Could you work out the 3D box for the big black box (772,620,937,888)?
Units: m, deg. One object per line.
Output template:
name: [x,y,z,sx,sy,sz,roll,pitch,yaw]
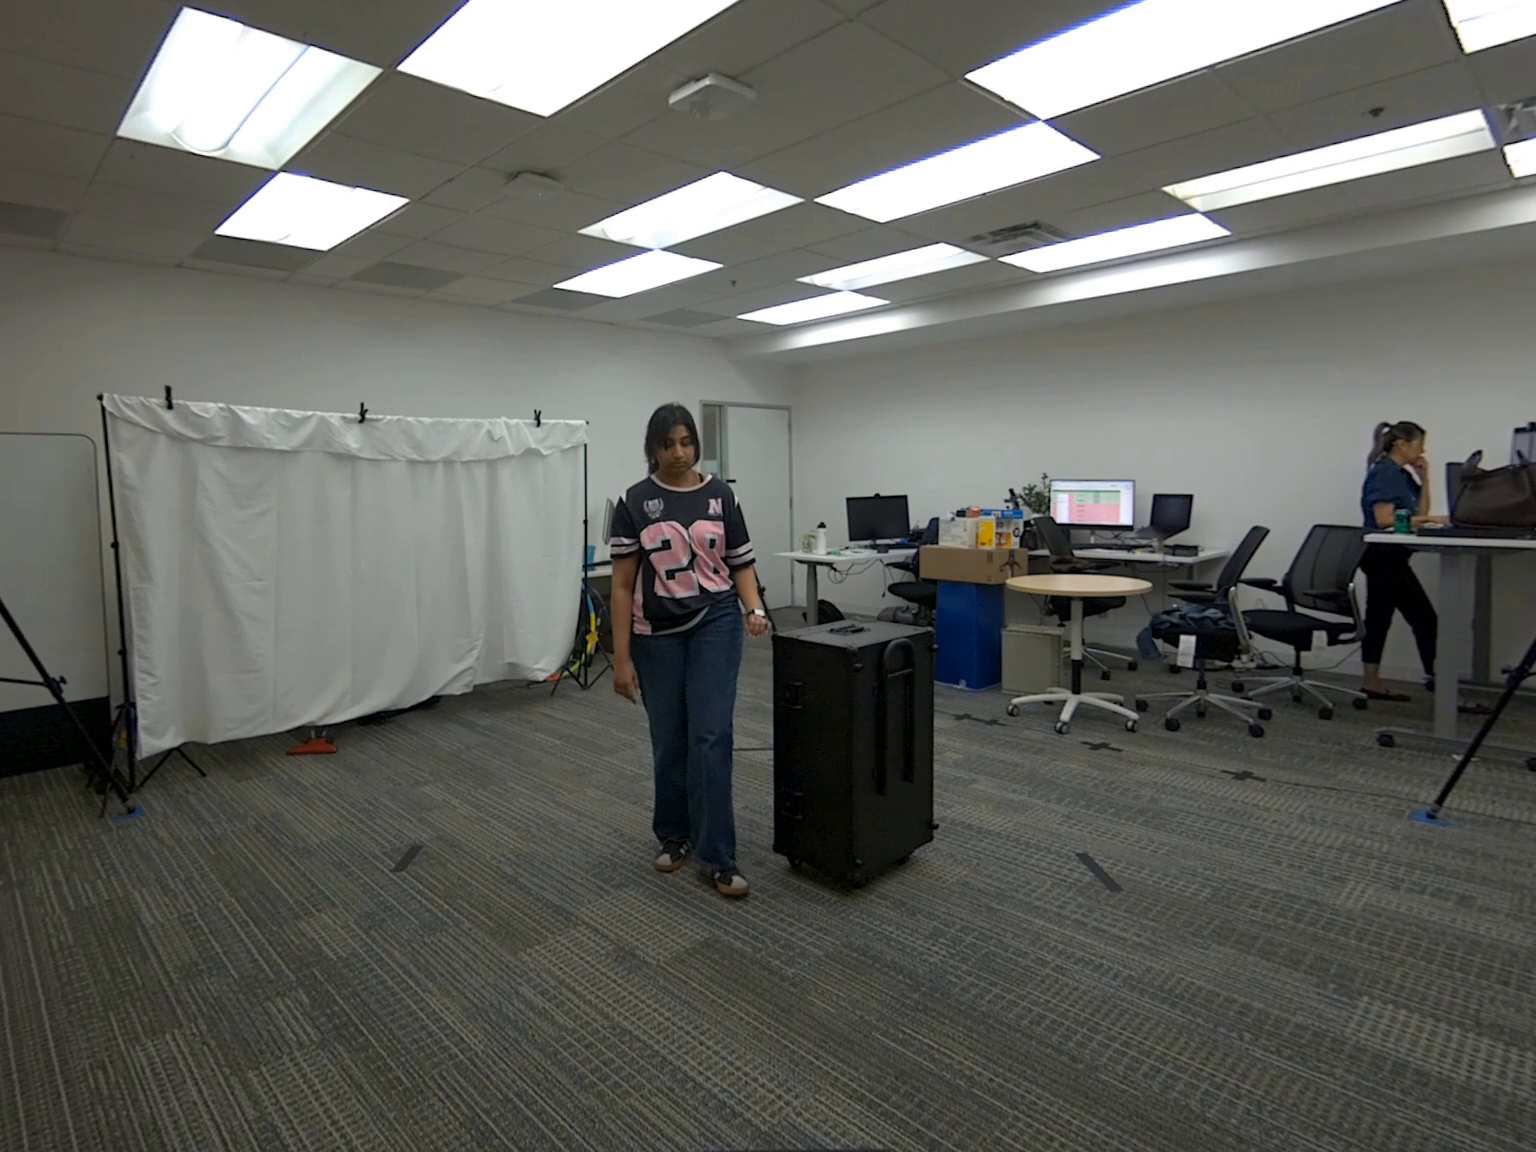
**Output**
big black box: [0.321,0.620,3.053,0.409,0.857,0.507,5,7,45]
